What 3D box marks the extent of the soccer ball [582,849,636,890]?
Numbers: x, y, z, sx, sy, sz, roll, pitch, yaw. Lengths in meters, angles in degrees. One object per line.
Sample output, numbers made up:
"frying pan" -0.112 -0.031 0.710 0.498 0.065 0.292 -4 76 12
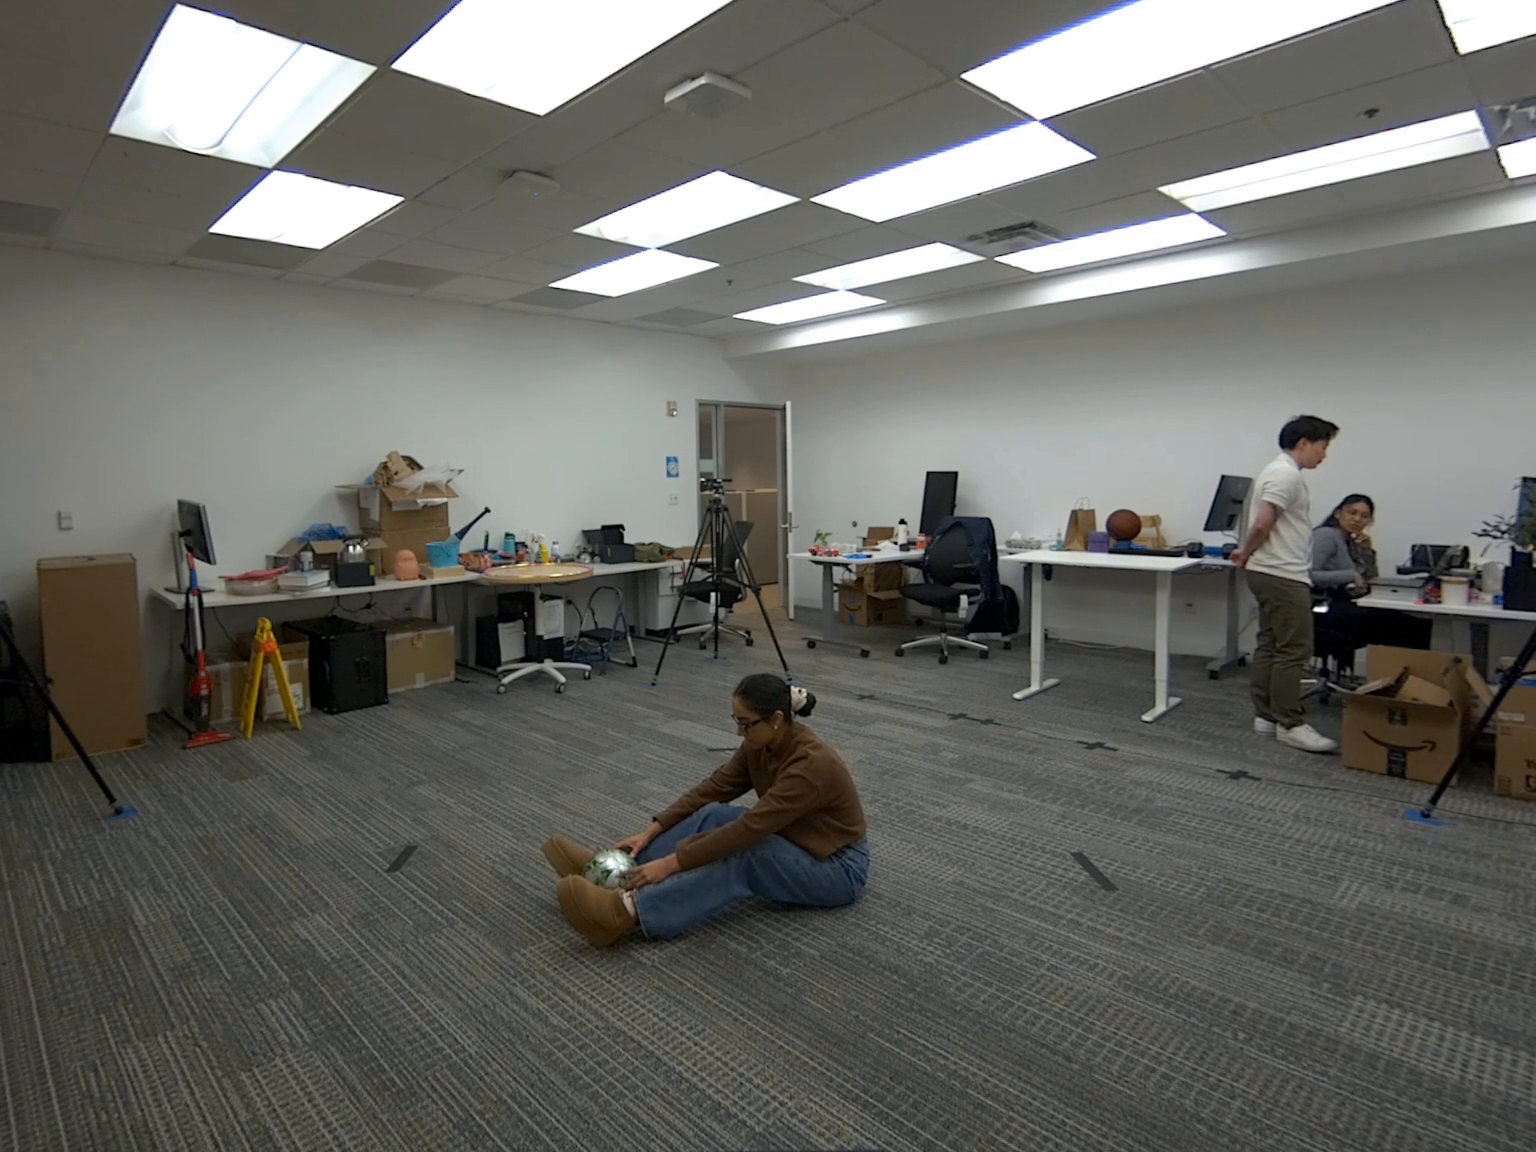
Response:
"soccer ball" -0.487 0.970 2.696 0.187 0.187 0.188 -1 5 -2
